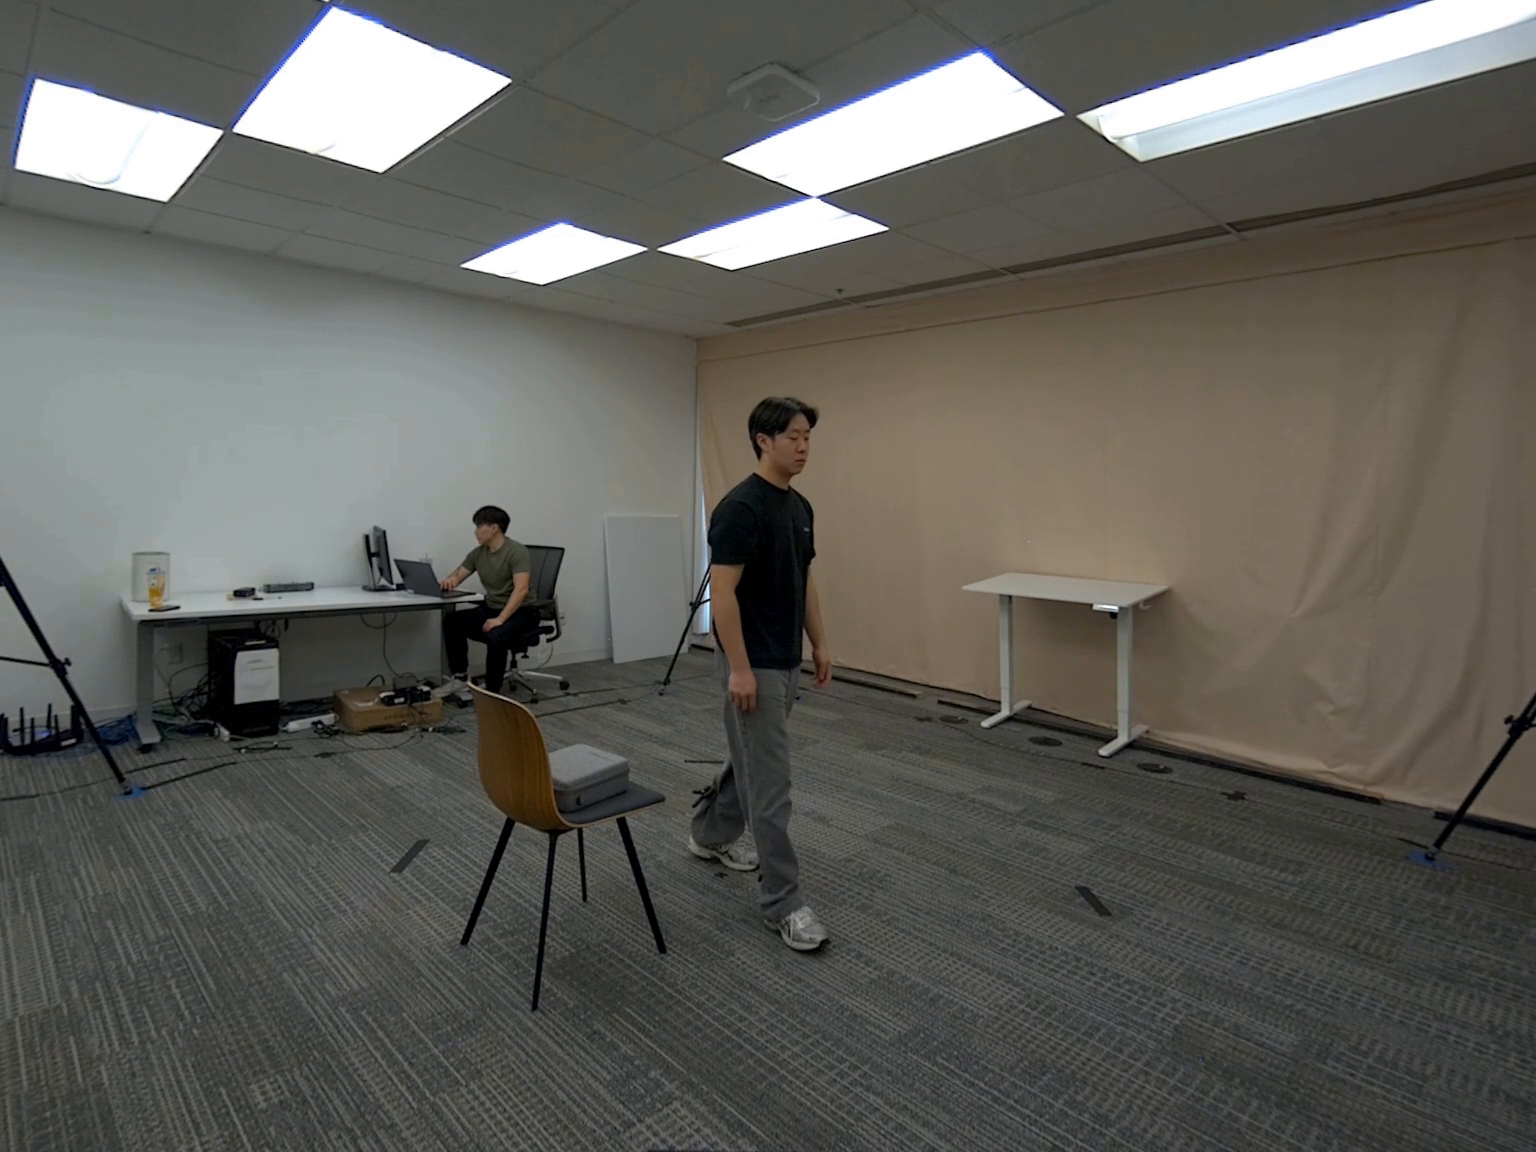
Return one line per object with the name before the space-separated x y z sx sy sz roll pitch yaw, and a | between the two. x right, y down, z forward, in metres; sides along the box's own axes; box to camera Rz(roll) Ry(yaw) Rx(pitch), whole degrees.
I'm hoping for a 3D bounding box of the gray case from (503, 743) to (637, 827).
gray case | -0.596 0.618 2.547 0.270 0.102 0.281 5 10 41
